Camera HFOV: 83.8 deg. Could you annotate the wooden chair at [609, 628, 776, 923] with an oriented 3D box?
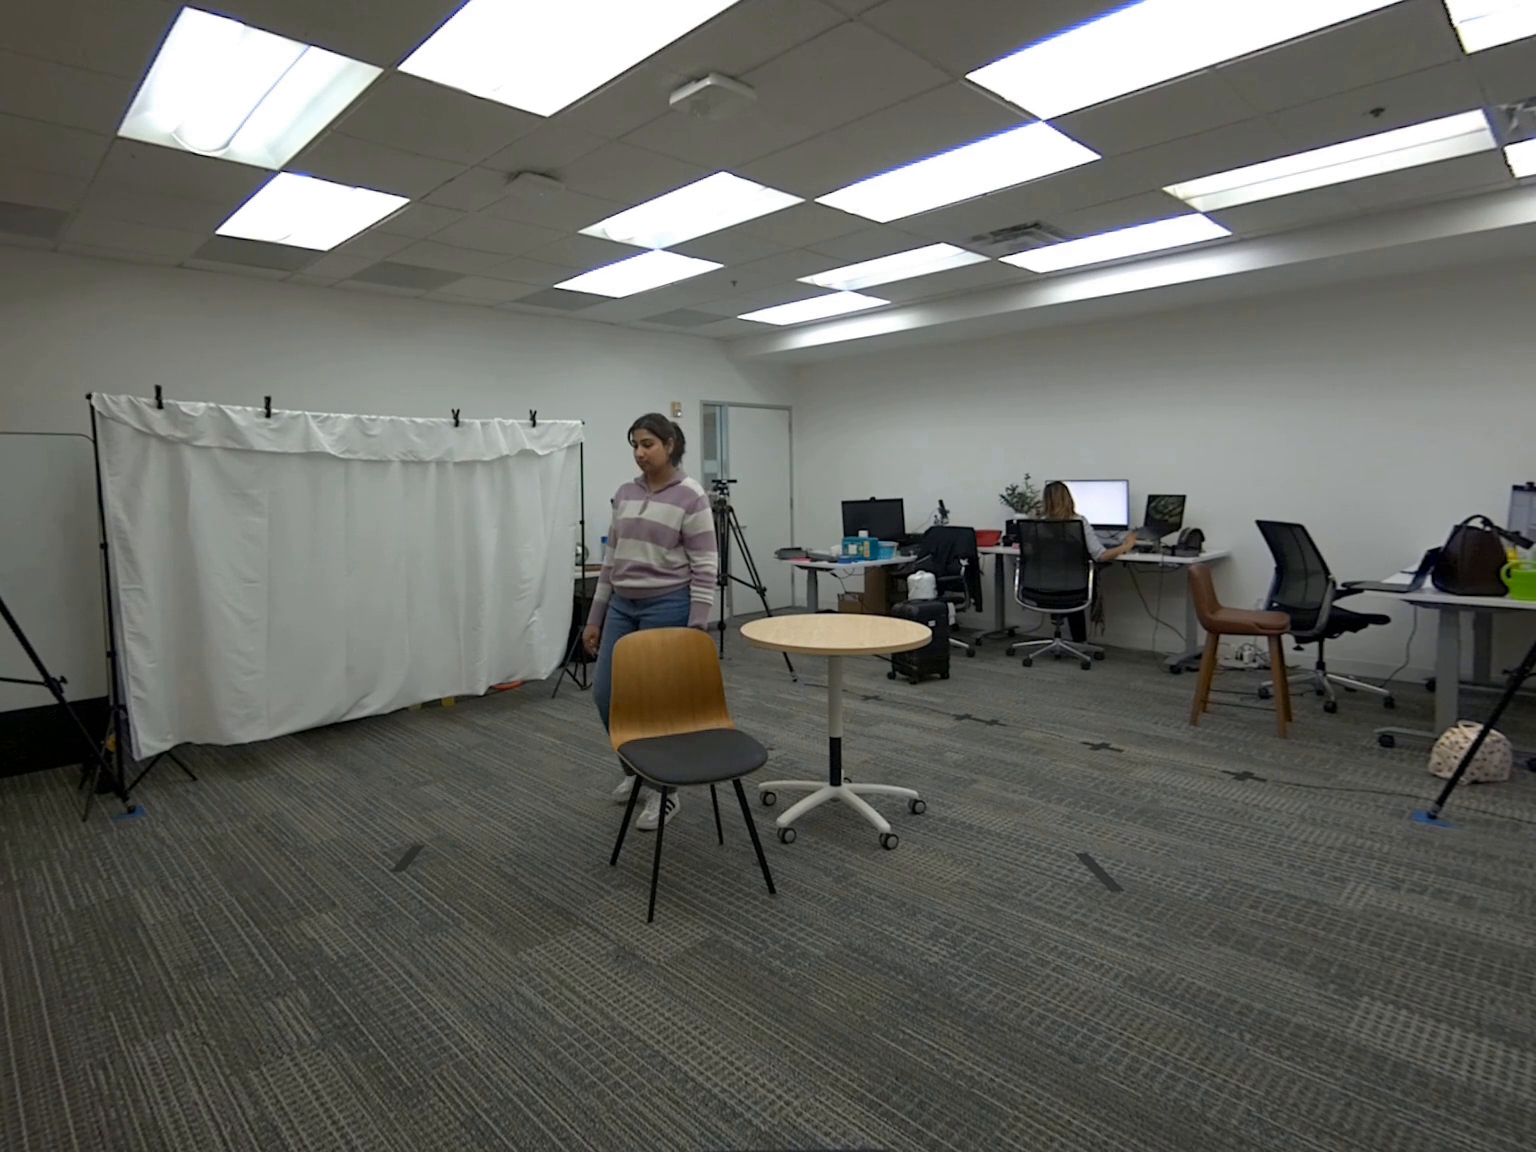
[{"bbox_3d":[-0.276,0.640,2.958,0.468,0.877,0.534,-3,0,-25],"label":"wooden chair"}]
